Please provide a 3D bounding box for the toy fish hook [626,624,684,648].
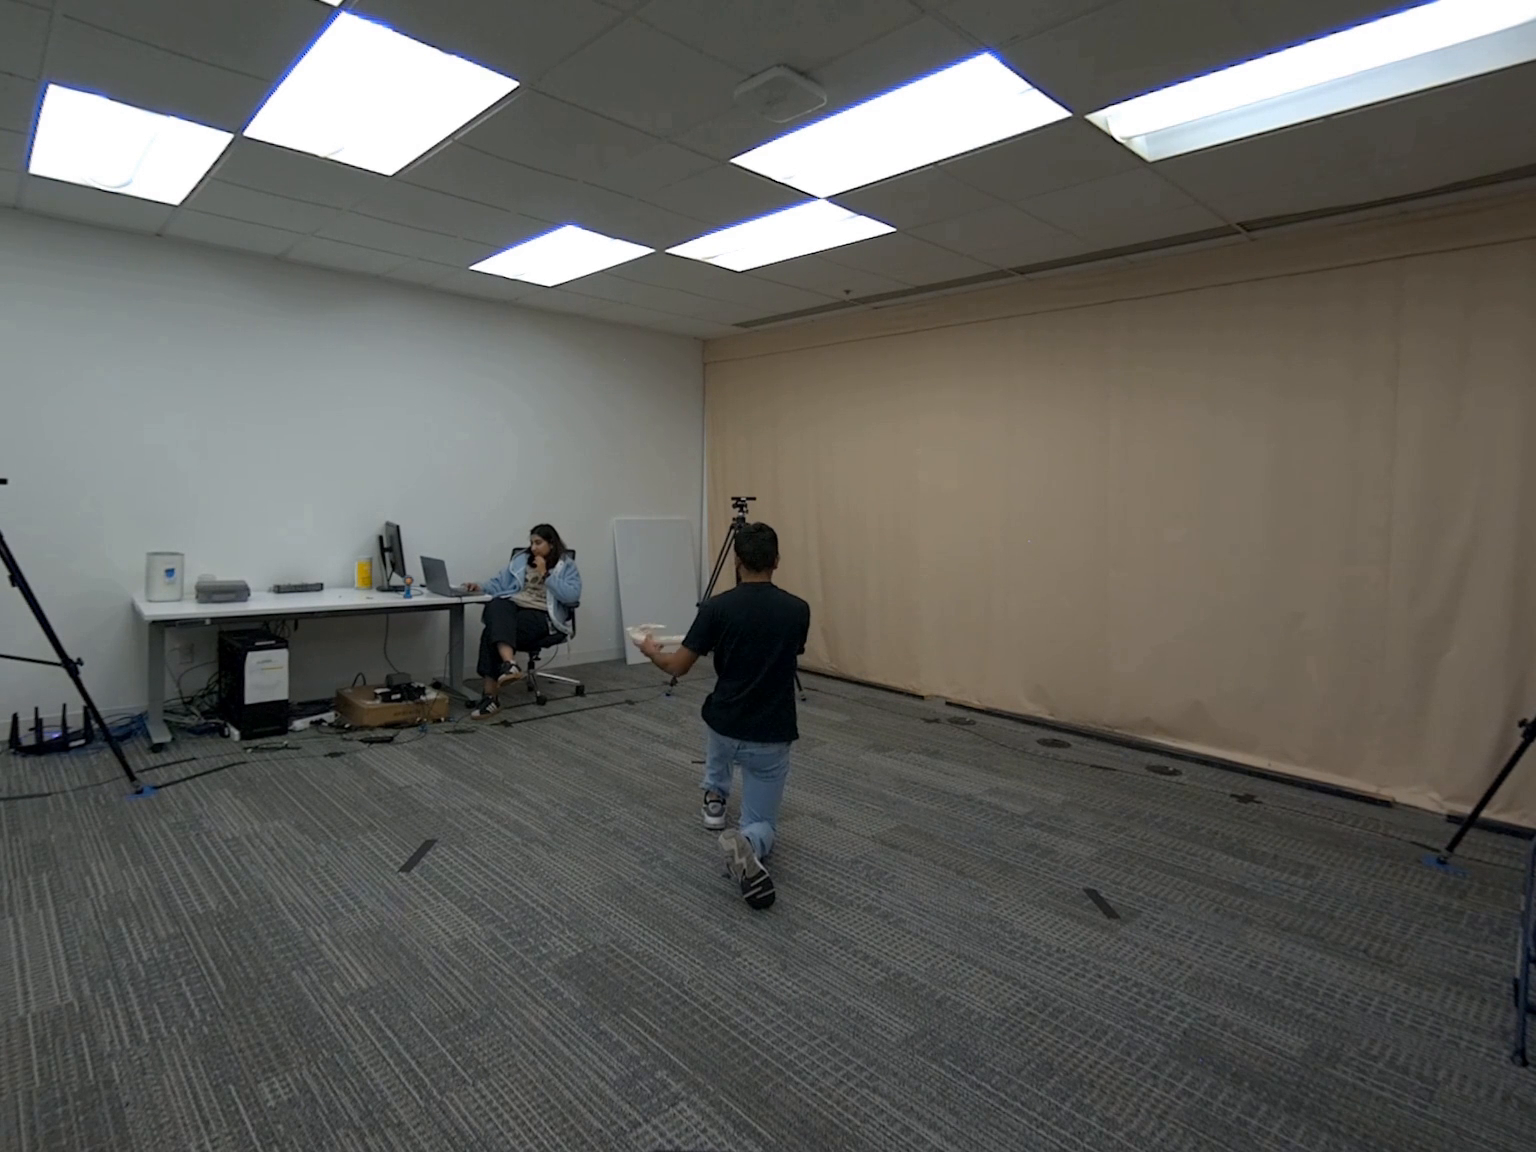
[{"bbox_3d":[-0.362,0.266,3.779,0.498,0.048,0.231,4,20,-22],"label":"toy fish hook"}]
